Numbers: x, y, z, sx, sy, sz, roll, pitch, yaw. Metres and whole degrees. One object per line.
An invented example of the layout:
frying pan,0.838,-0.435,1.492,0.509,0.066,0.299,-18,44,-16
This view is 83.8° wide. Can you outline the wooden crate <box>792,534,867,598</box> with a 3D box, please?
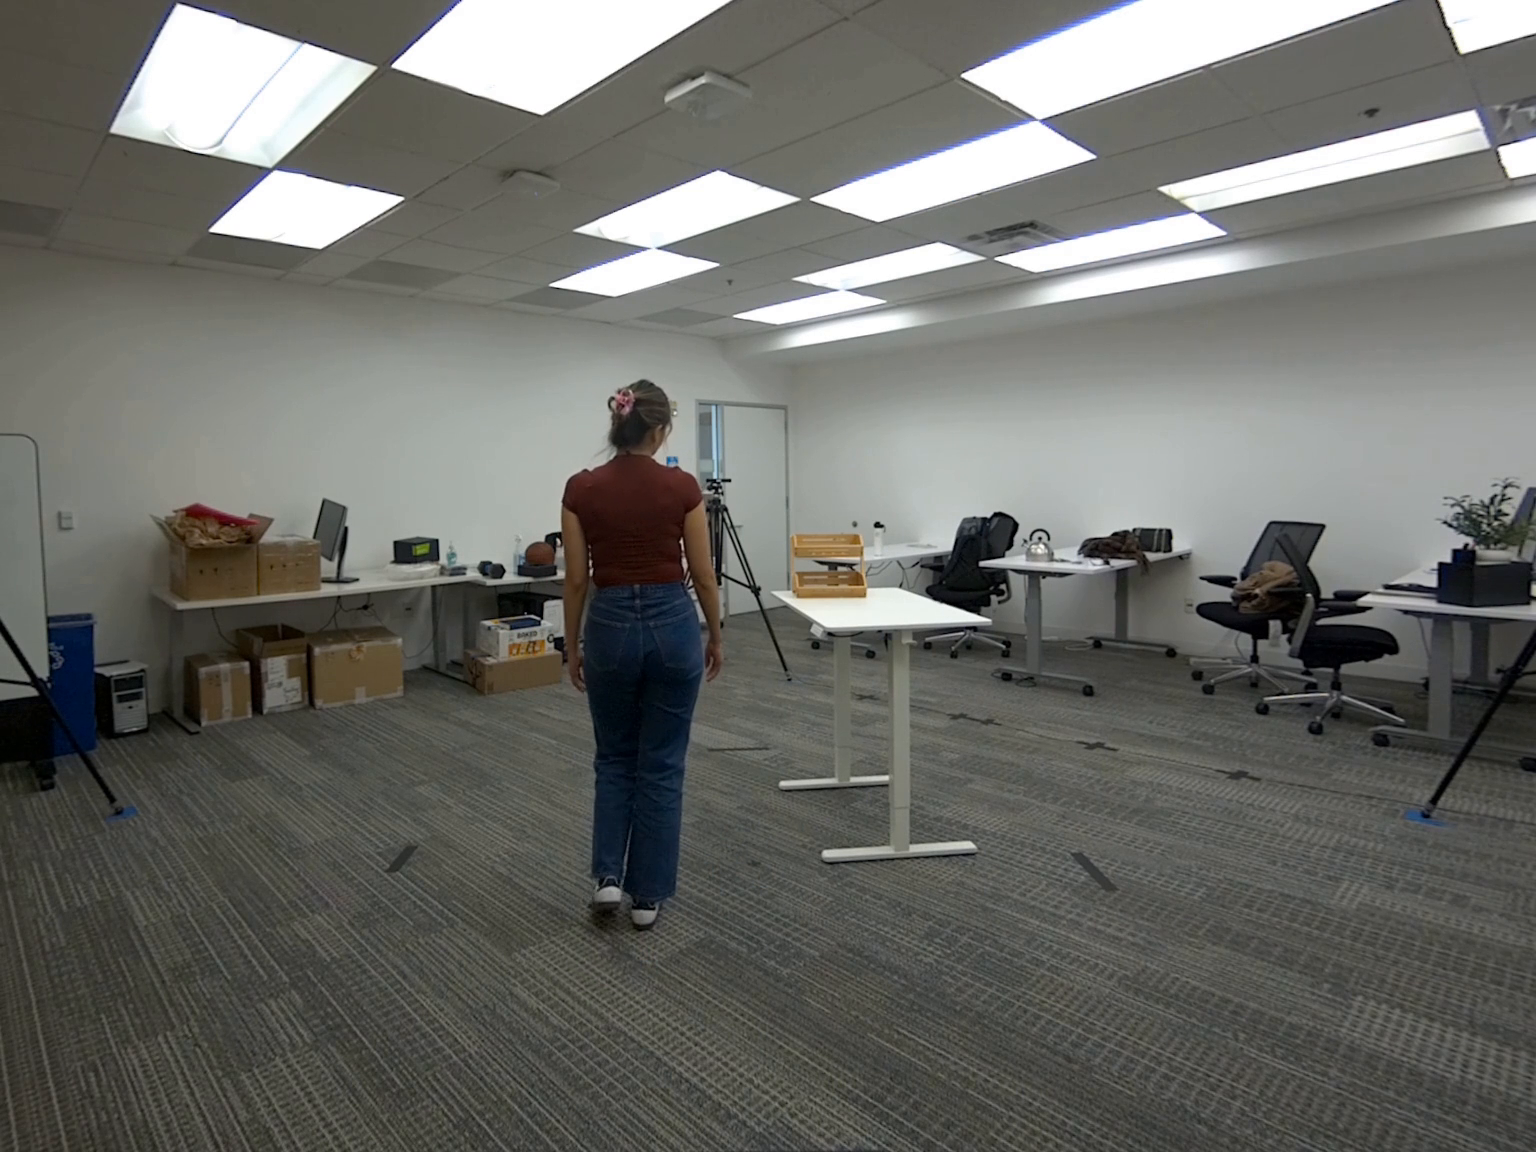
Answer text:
wooden crate,0.270,-0.052,3.800,0.324,0.272,0.303,0,5,-1
